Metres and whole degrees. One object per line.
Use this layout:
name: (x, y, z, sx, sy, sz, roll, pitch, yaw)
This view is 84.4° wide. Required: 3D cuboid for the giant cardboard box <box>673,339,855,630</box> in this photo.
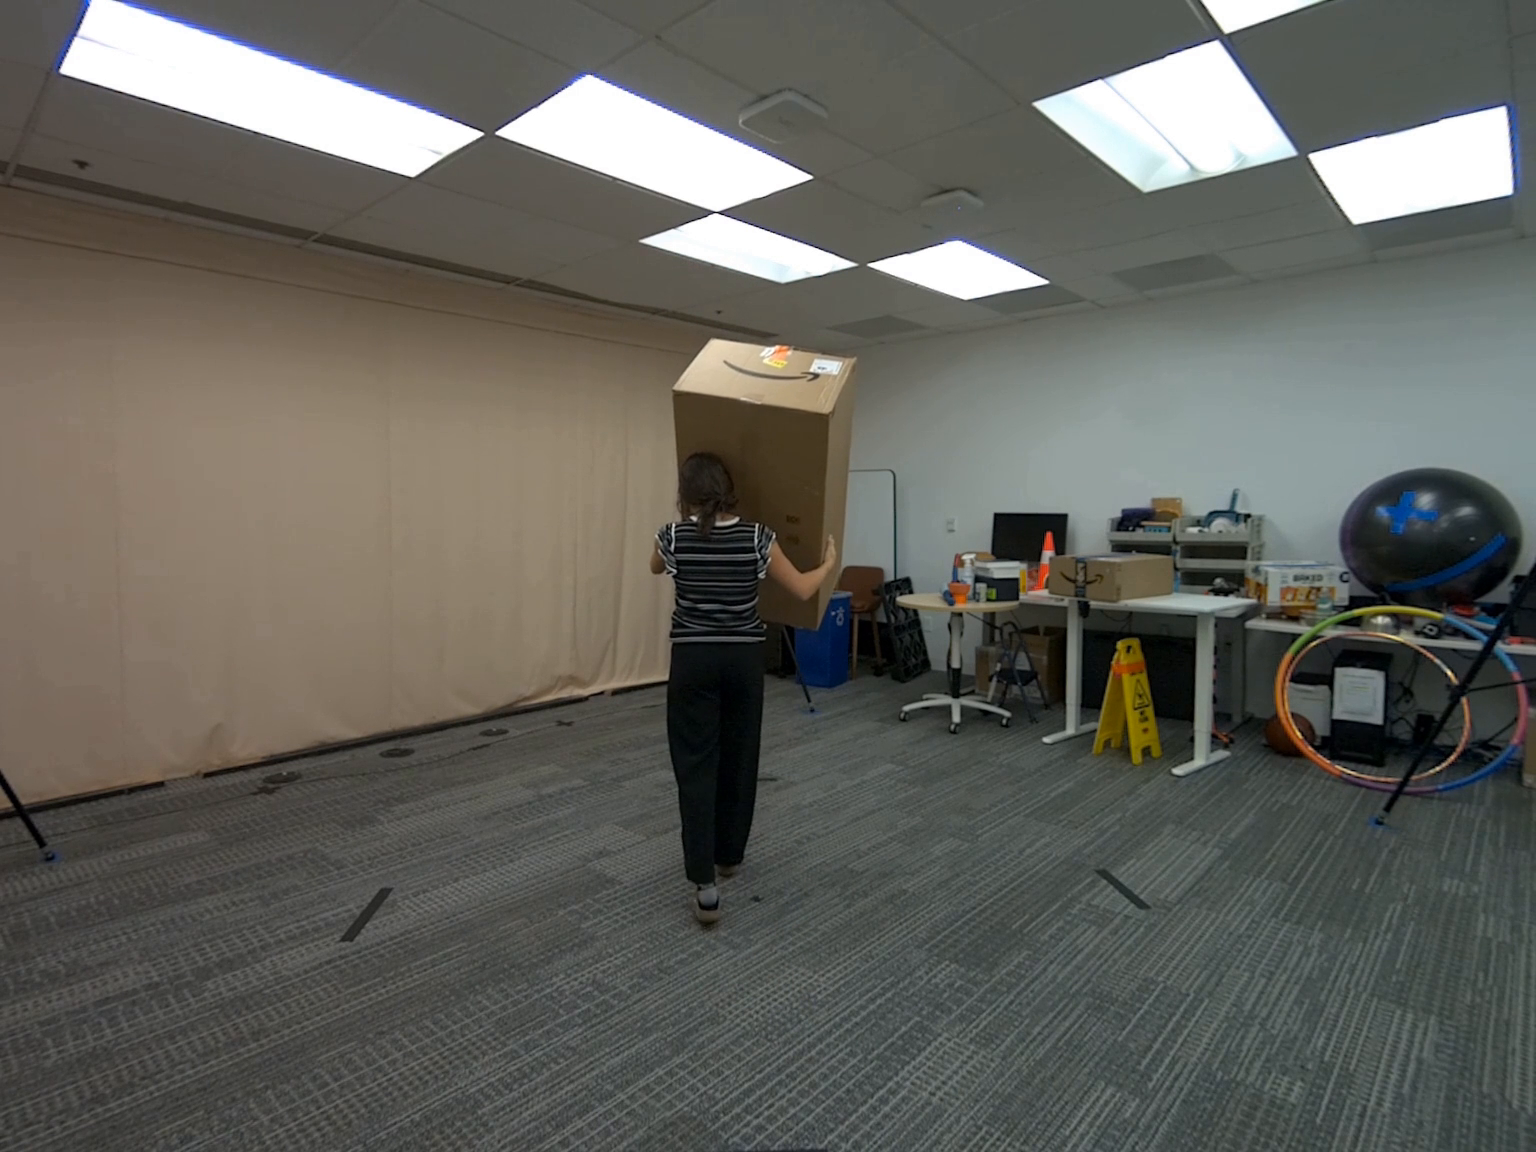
giant cardboard box: (-0.005, -0.339, 3.347, 0.588, 1.006, 0.427, 12, 41, 14)
